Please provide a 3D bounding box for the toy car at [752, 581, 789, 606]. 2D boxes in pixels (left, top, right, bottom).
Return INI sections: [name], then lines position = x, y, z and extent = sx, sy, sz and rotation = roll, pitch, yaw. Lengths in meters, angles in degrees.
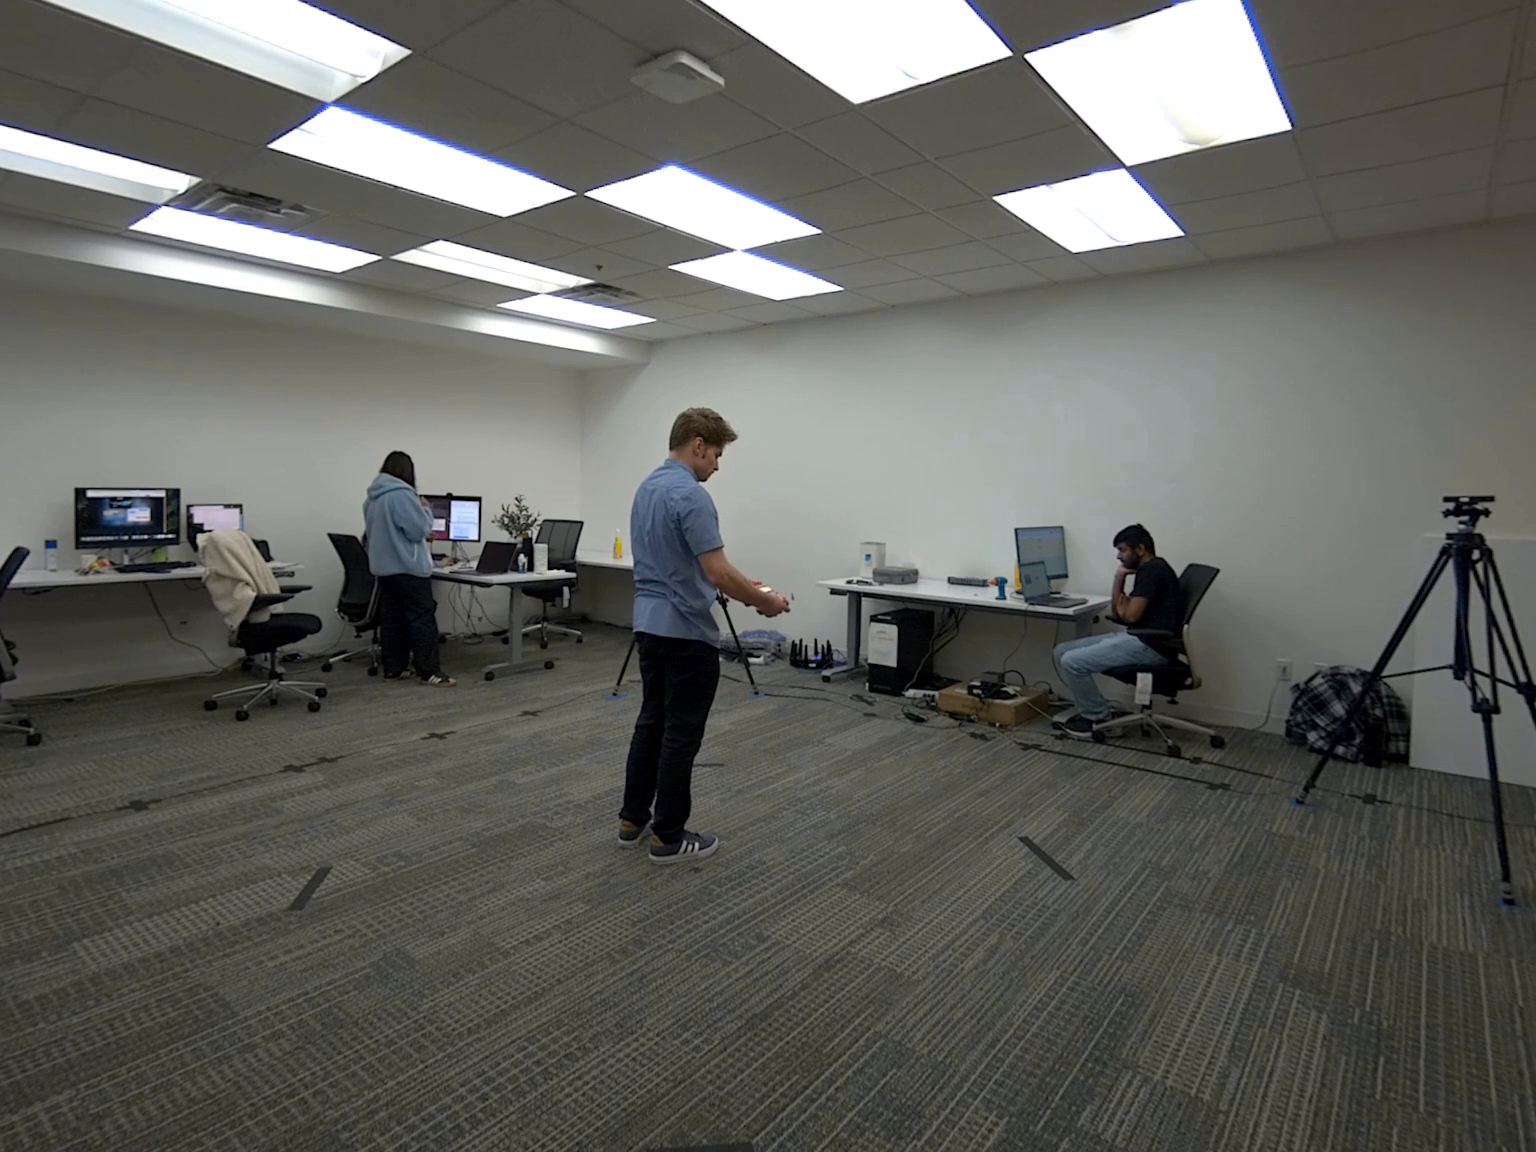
[toy car]
position = -0.022, 0.083, 3.311
extent = 0.128, 0.081, 0.263
rotation = -7, 23, -15
